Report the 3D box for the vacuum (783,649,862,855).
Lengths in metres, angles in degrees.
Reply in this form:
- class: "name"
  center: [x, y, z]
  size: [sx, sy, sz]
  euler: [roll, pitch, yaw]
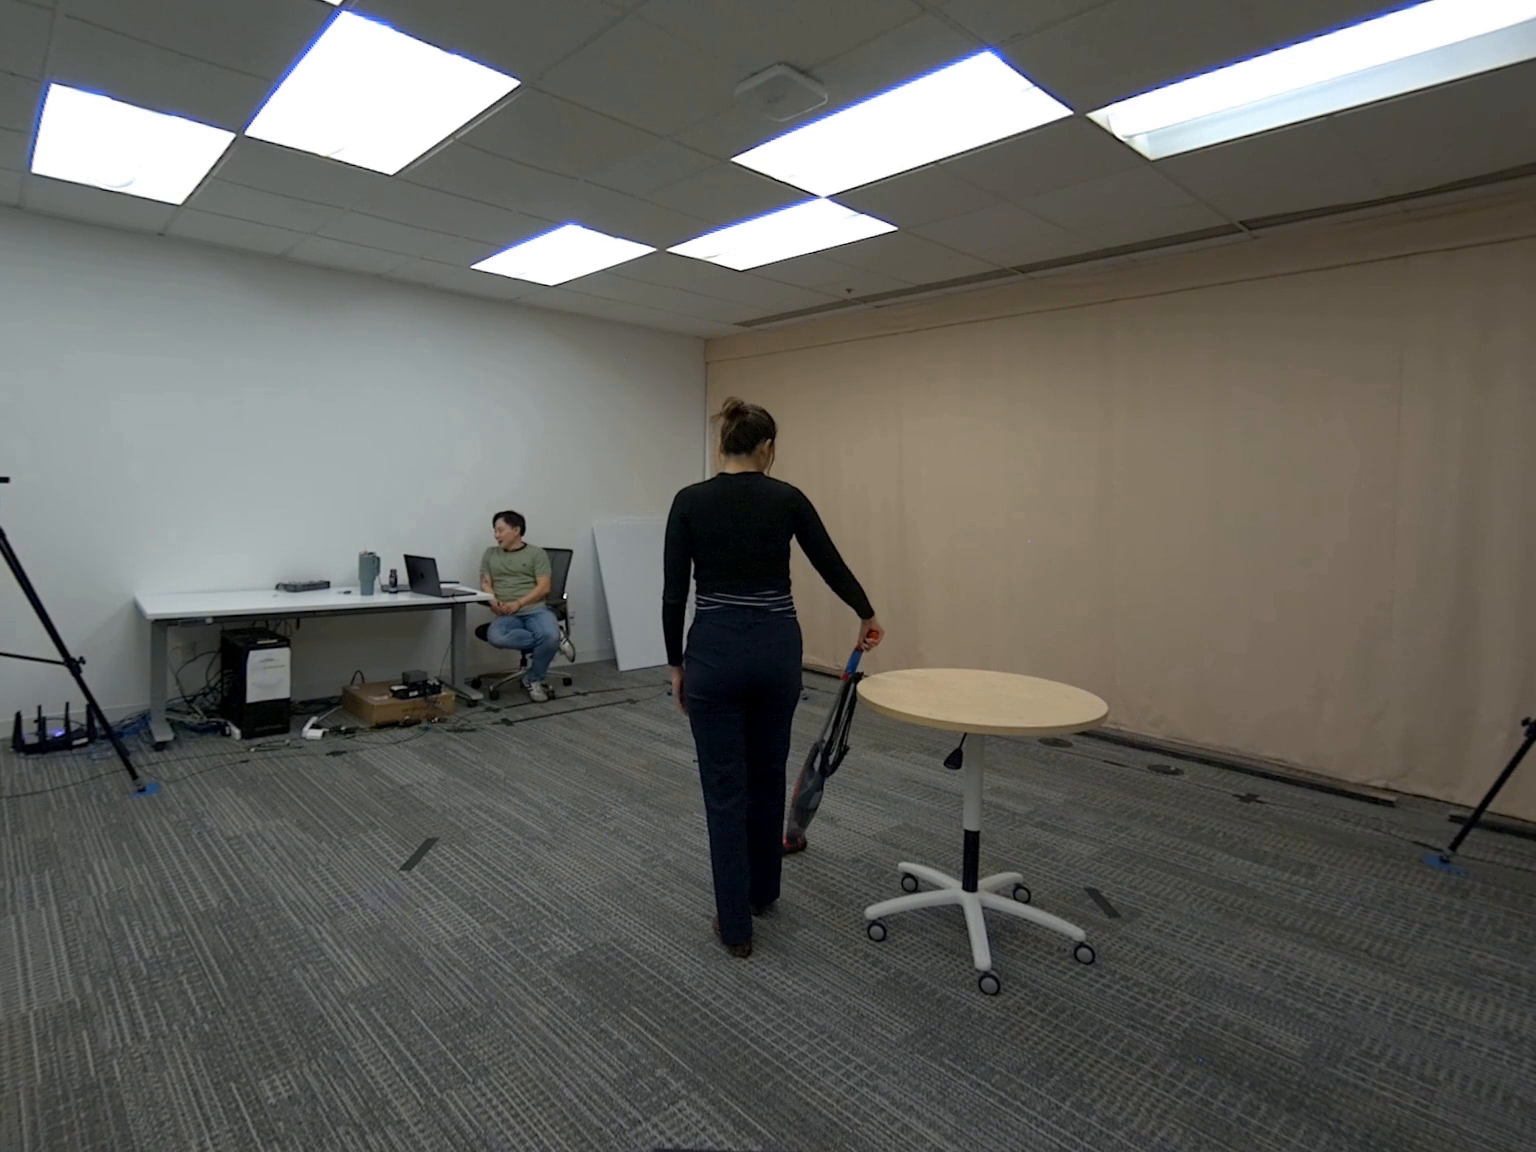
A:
- class: "vacuum"
  center: [0.205, 0.643, 3.130]
  size: [0.247, 1.038, 0.149]
  euler: [-1, 34, -34]
